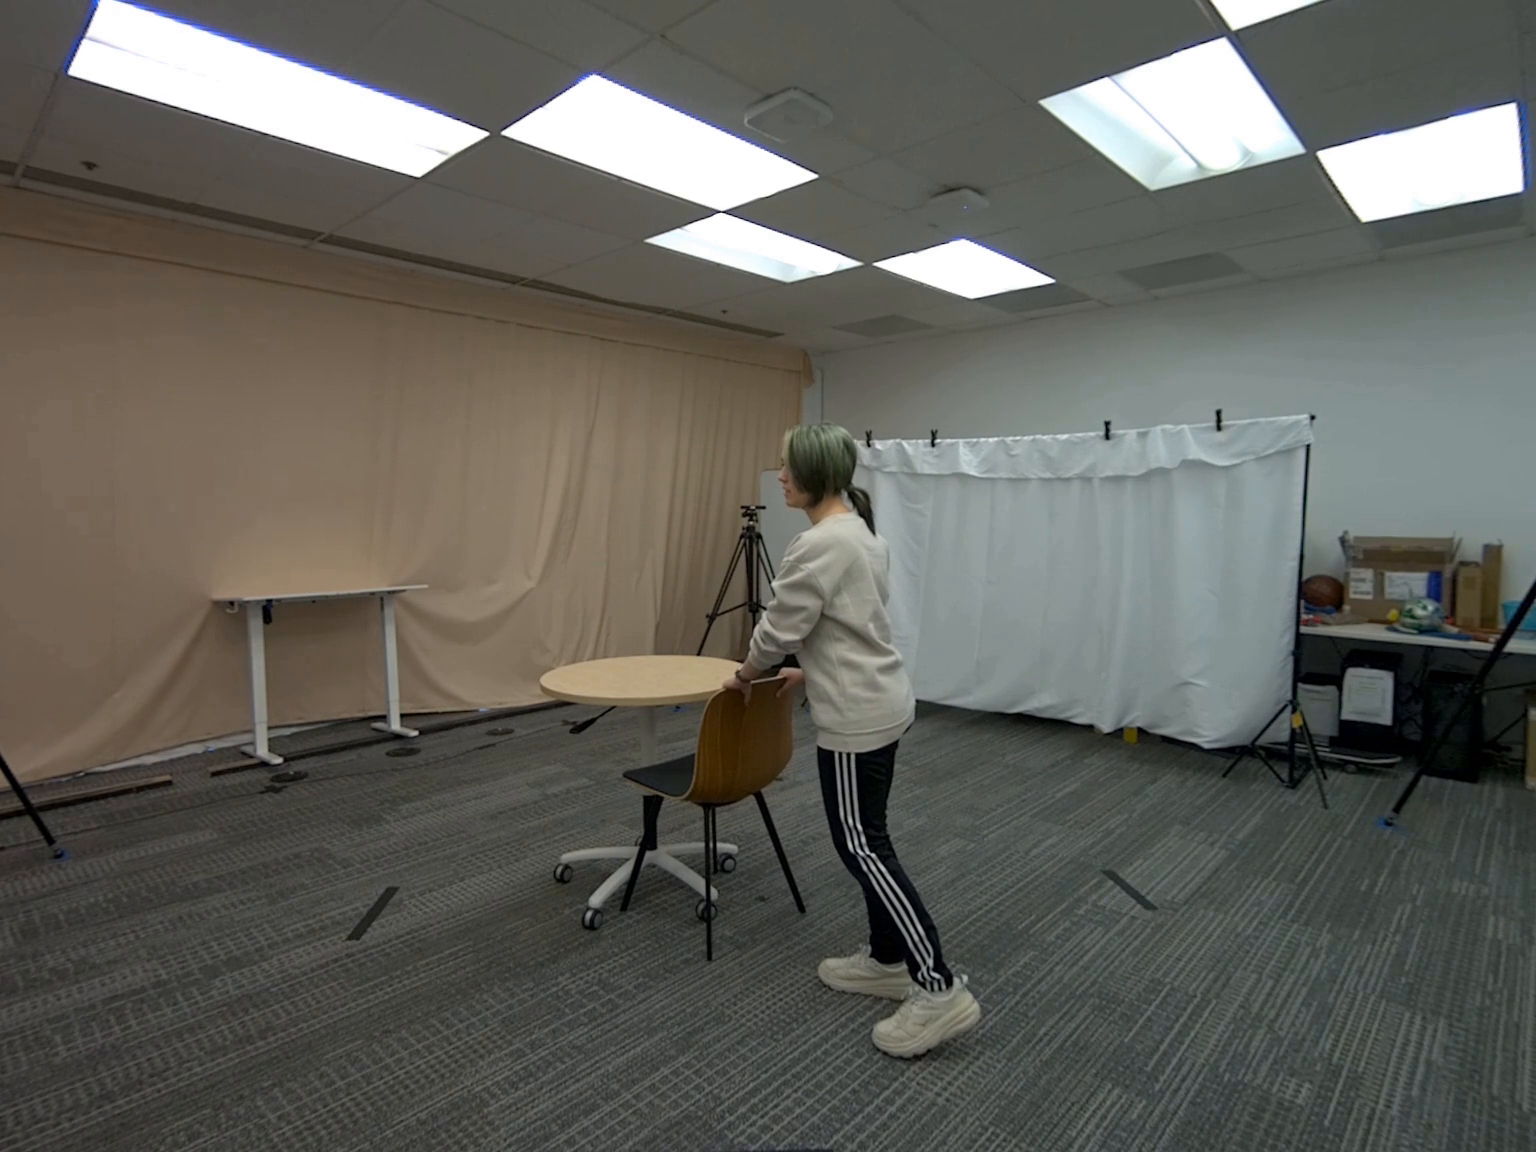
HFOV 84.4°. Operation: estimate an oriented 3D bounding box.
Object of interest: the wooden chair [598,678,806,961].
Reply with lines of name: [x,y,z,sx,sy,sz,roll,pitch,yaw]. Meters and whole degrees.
wooden chair: [-0.190,0.726,2.865,0.463,0.874,0.541,-4,9,-44]
